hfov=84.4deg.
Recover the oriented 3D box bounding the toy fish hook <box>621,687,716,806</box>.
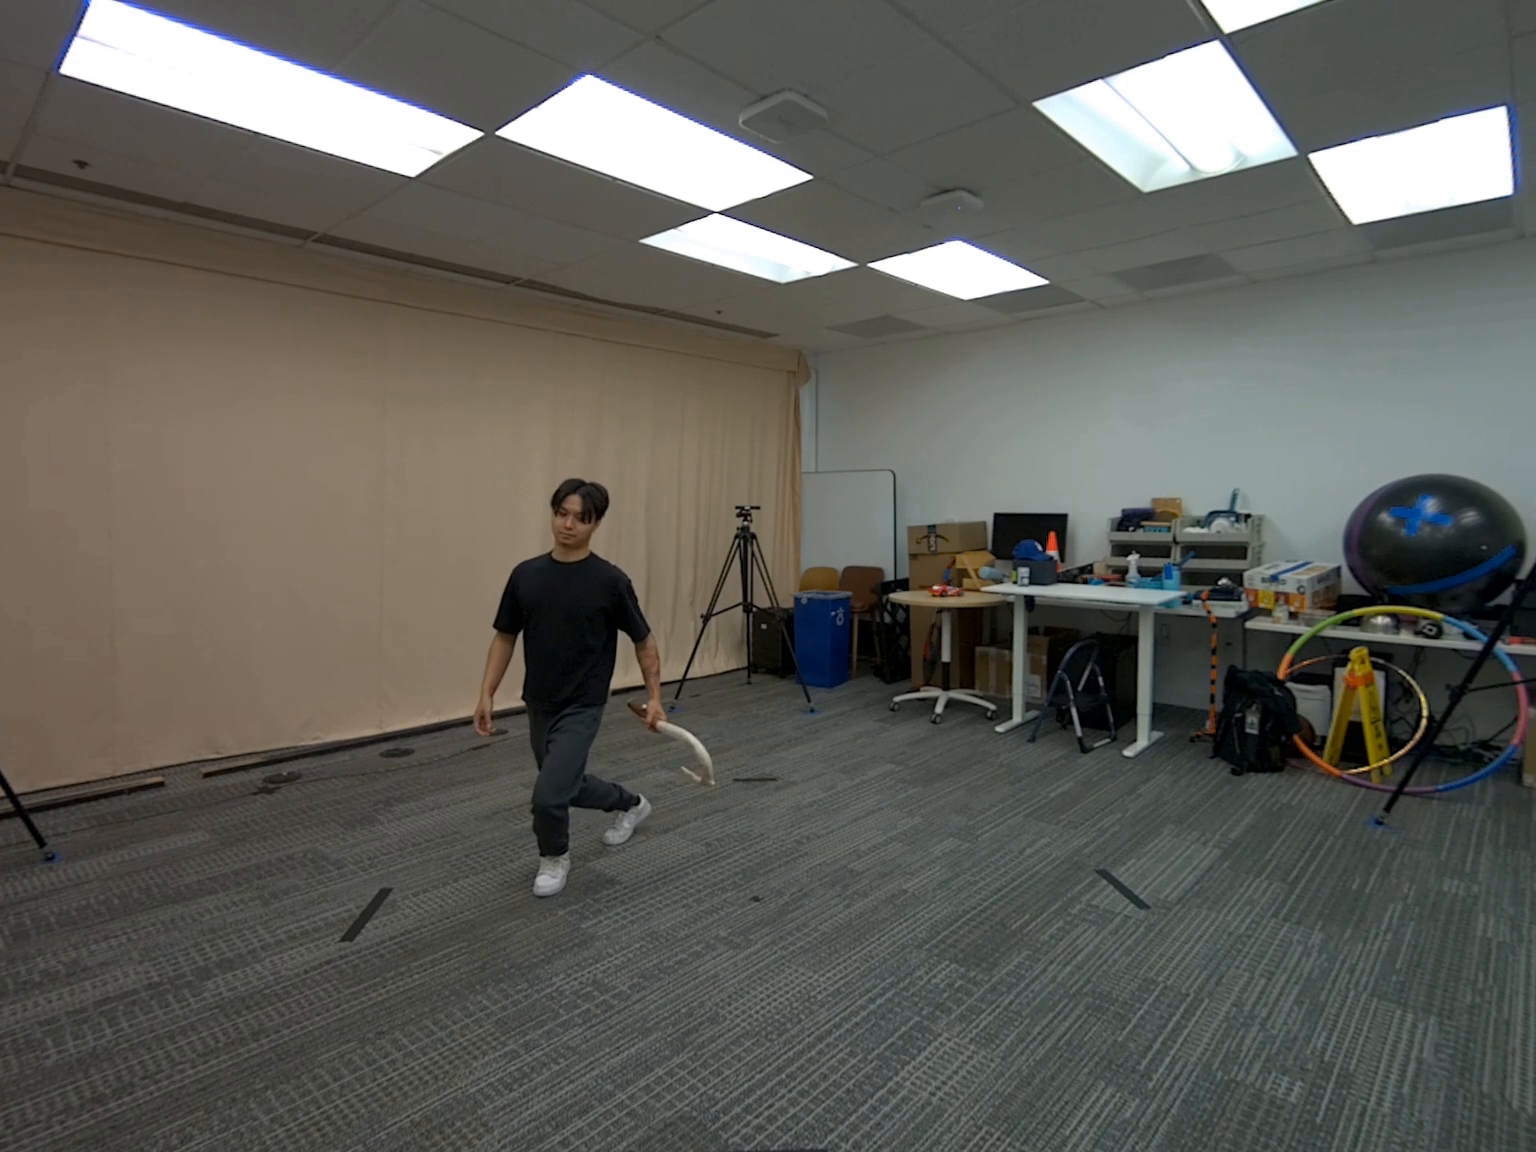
[{"bbox_3d":[-0.366,0.596,3.034,0.047,0.221,0.525,-17,25,-34],"label":"toy fish hook"}]
